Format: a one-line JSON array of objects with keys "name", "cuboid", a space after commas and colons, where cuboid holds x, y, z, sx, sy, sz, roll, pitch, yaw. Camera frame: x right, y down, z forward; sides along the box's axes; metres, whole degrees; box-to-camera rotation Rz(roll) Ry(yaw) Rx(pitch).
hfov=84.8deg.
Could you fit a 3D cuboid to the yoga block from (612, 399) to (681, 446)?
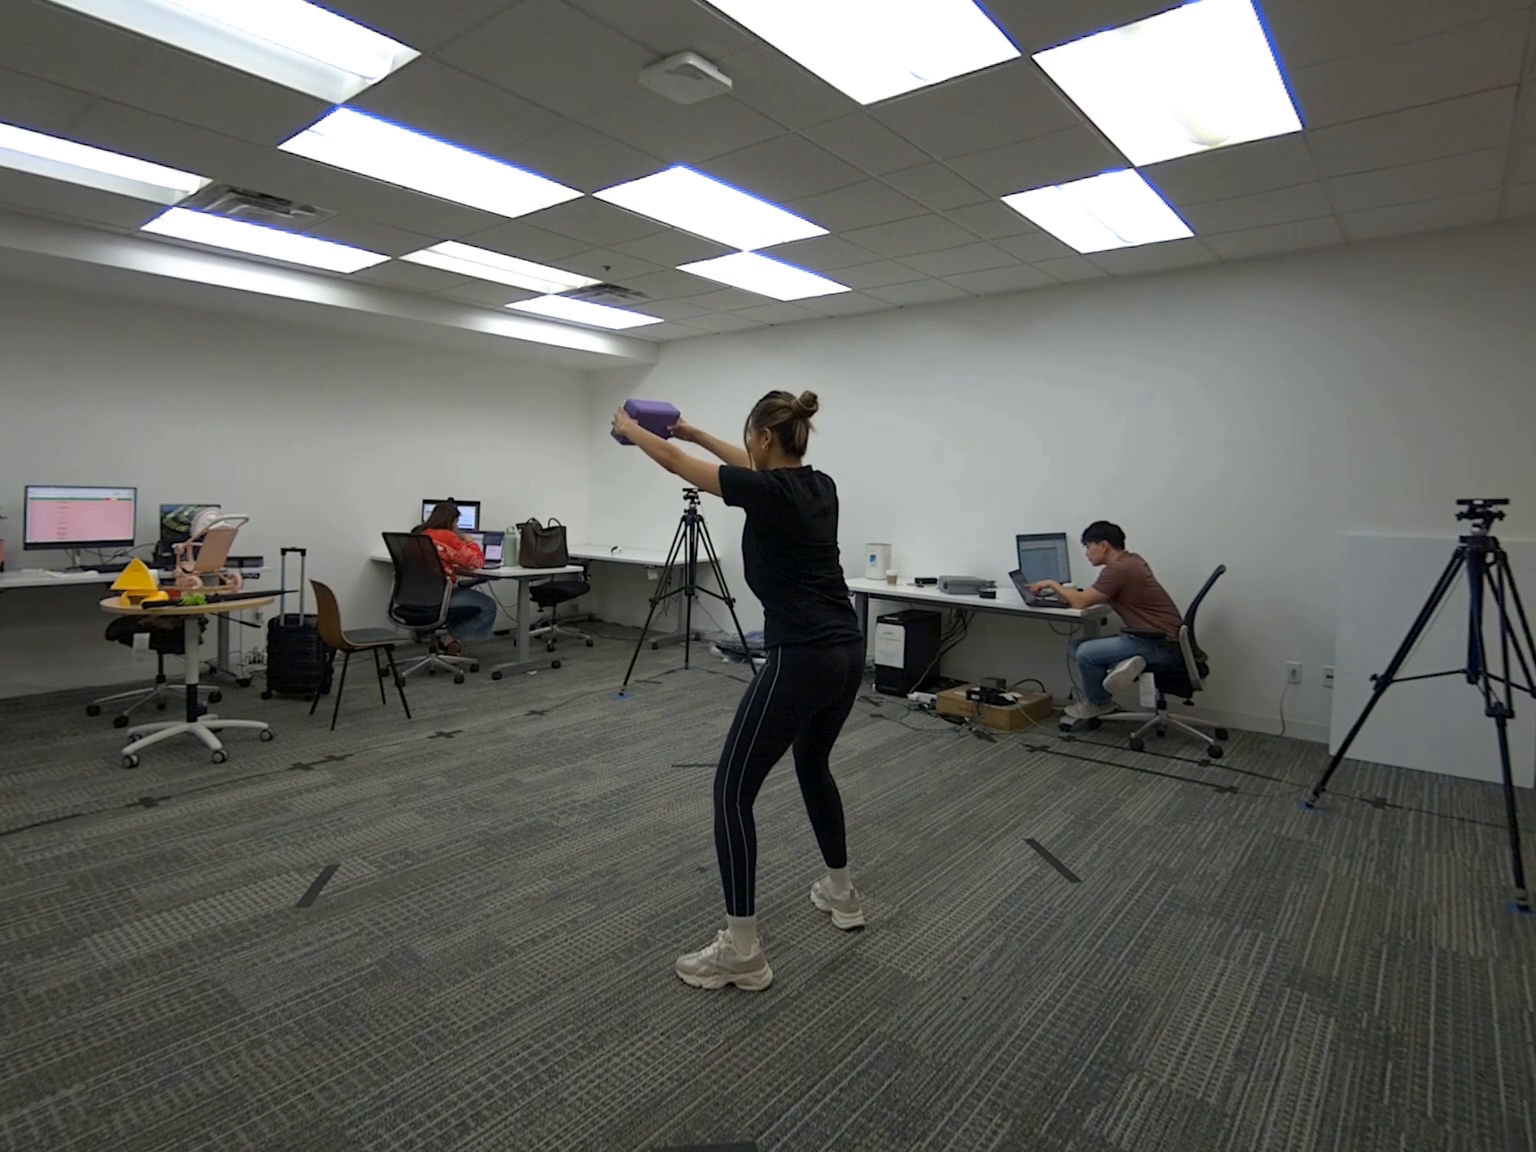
[{"name": "yoga block", "cuboid": [-0.429, -0.531, 2.954, 0.079, 0.148, 0.223, 44, 26, 20]}]
